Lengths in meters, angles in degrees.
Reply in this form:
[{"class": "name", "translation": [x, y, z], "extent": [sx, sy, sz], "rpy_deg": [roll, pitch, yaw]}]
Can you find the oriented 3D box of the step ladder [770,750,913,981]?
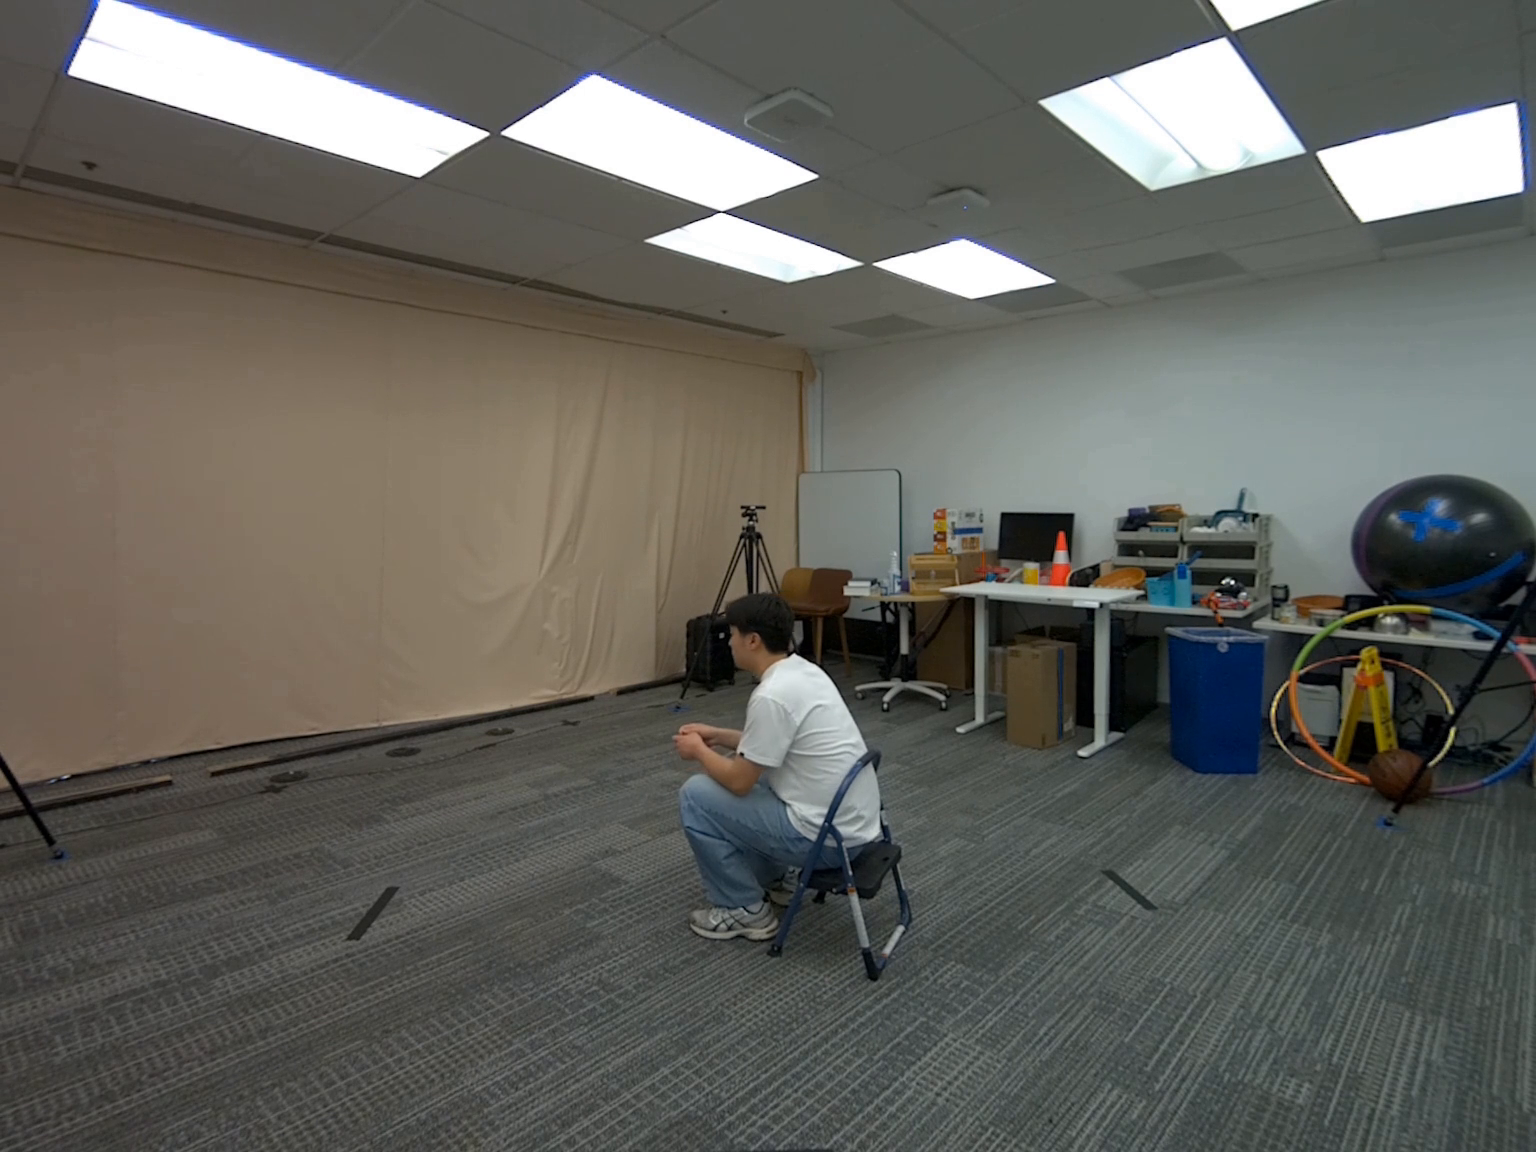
[{"class": "step ladder", "translation": [0.252, 0.868, 2.694], "extent": [0.358, 0.604, 0.420], "rpy_deg": [2, 5, 26]}]
